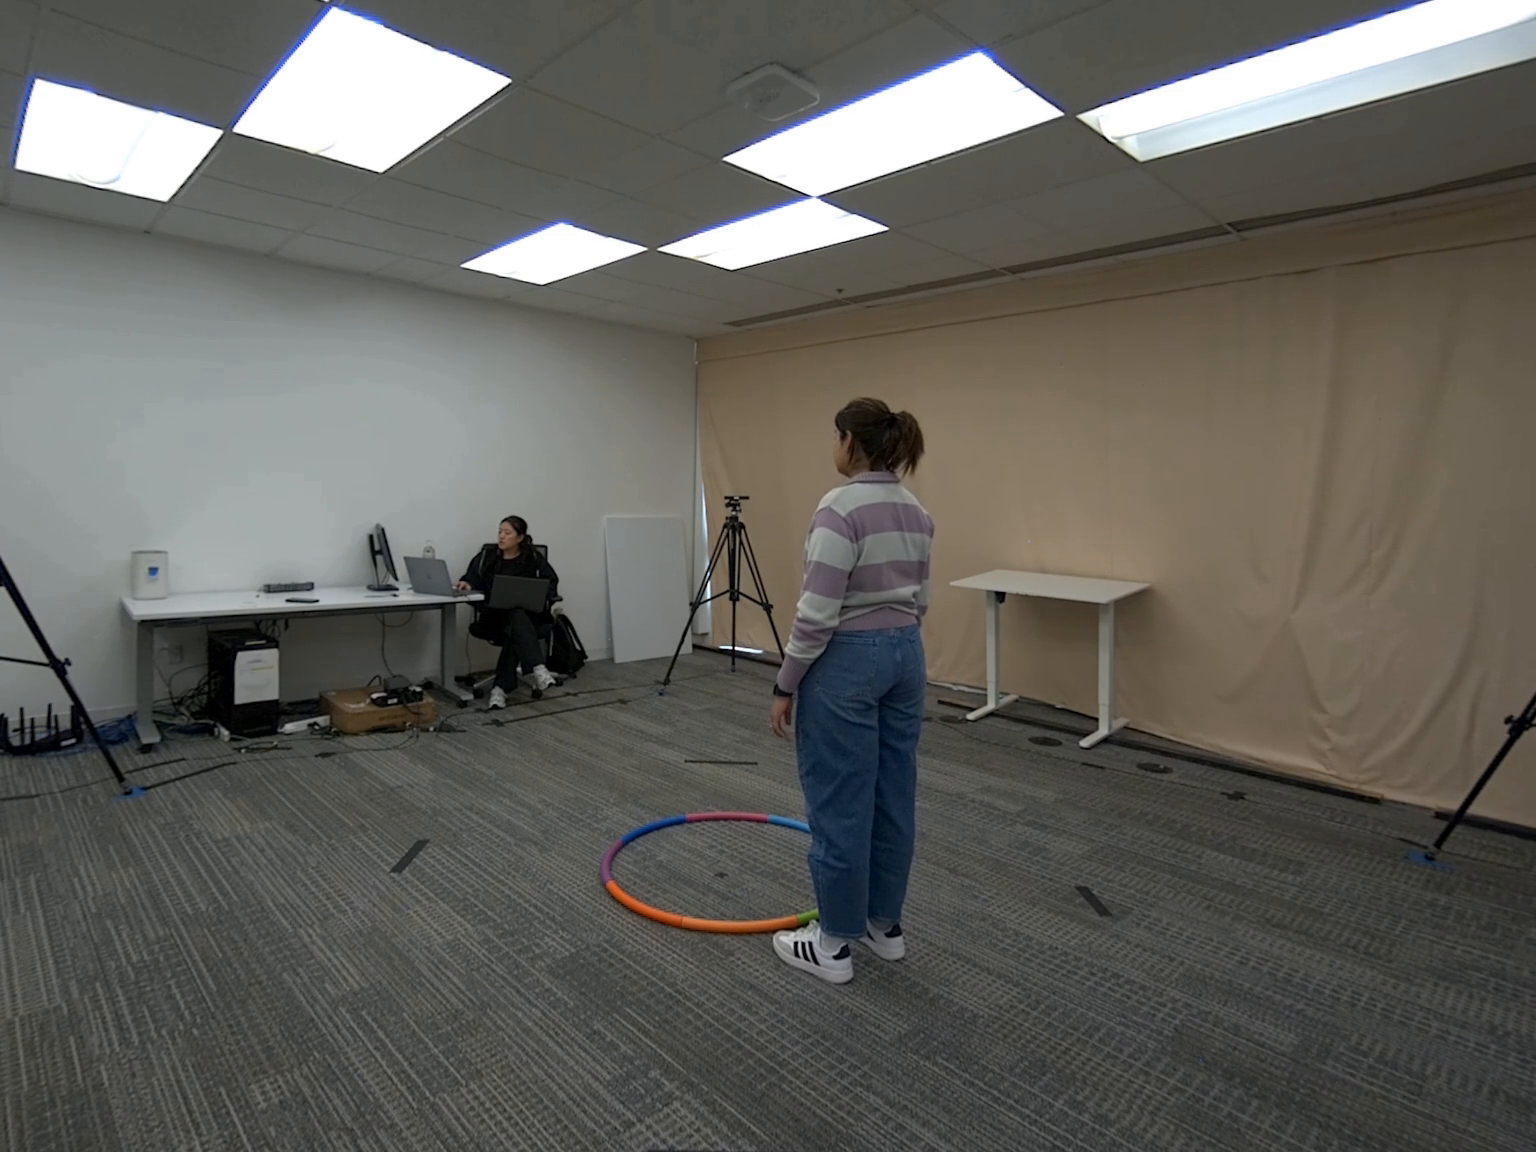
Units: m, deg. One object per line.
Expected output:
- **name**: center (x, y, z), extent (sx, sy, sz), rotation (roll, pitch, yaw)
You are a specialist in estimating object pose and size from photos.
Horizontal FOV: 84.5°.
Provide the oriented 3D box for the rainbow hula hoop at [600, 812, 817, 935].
- **rainbow hula hoop**: center (-0.134, 1.071, 3.170), extent (0.985, 0.051, 0.989), rotation (1, 6, -1)
